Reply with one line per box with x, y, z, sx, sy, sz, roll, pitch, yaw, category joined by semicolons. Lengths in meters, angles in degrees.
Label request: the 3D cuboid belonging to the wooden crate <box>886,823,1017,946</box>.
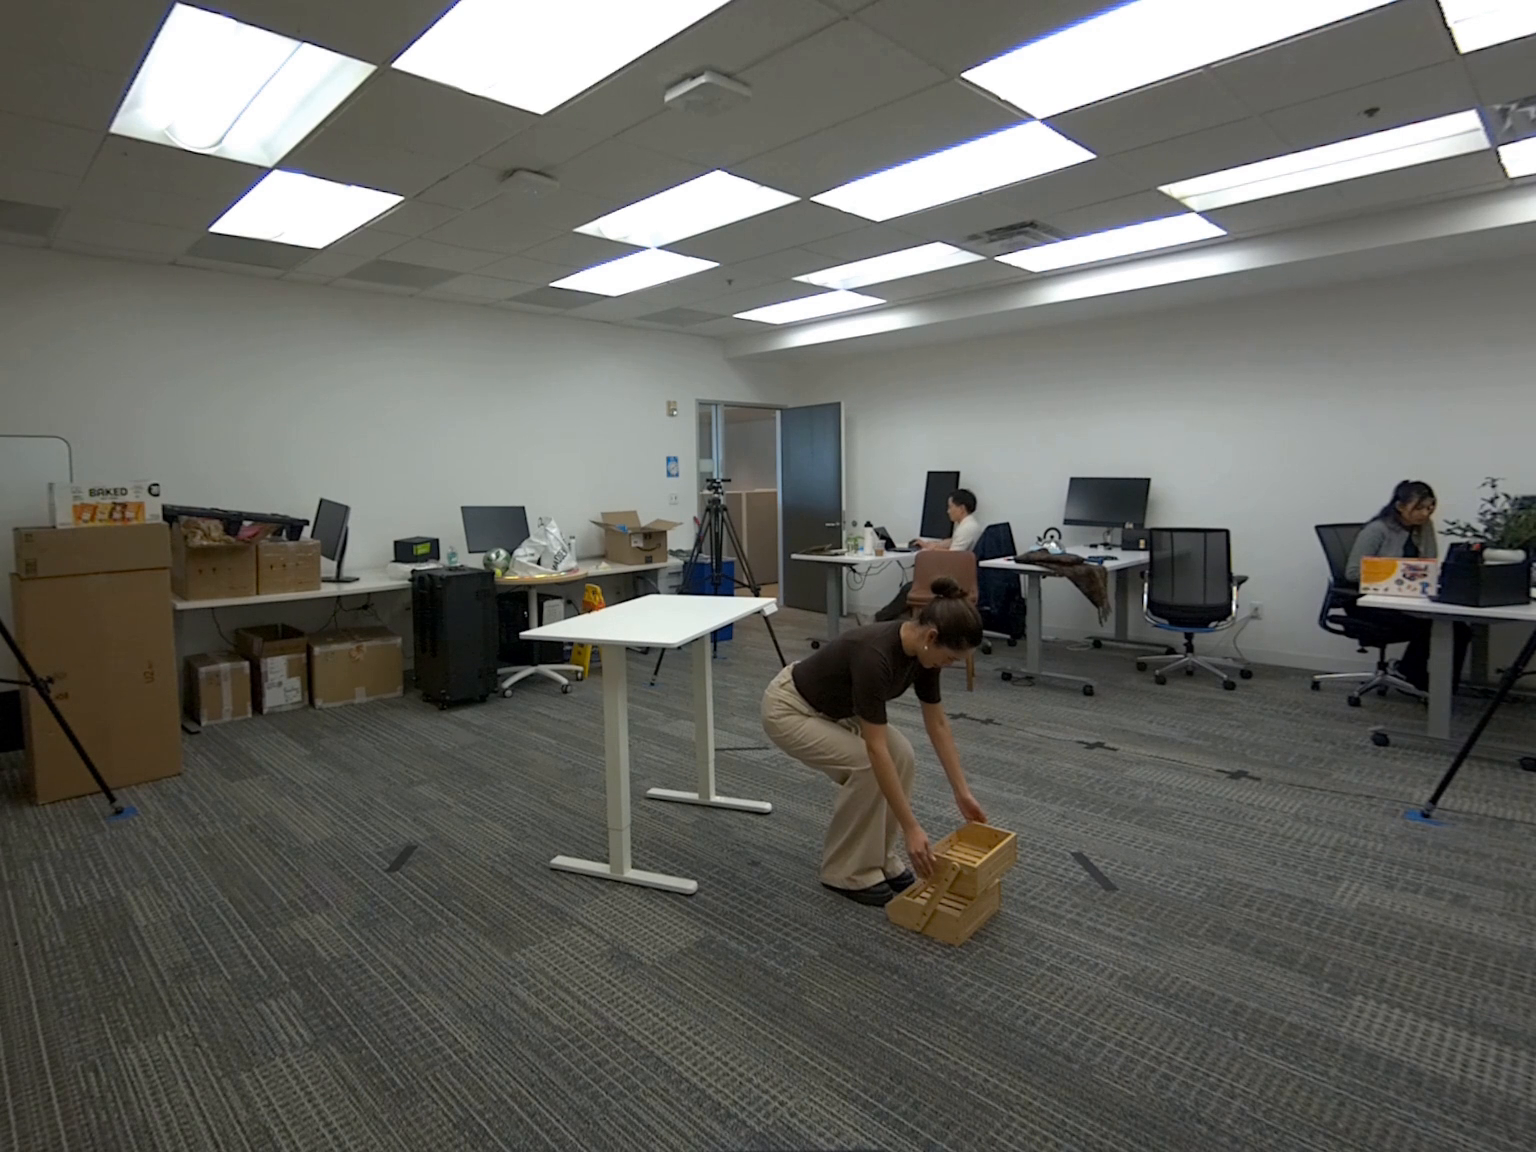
0.576;0.940;2.701;0.311;0.272;0.316;4;7;38;wooden crate
